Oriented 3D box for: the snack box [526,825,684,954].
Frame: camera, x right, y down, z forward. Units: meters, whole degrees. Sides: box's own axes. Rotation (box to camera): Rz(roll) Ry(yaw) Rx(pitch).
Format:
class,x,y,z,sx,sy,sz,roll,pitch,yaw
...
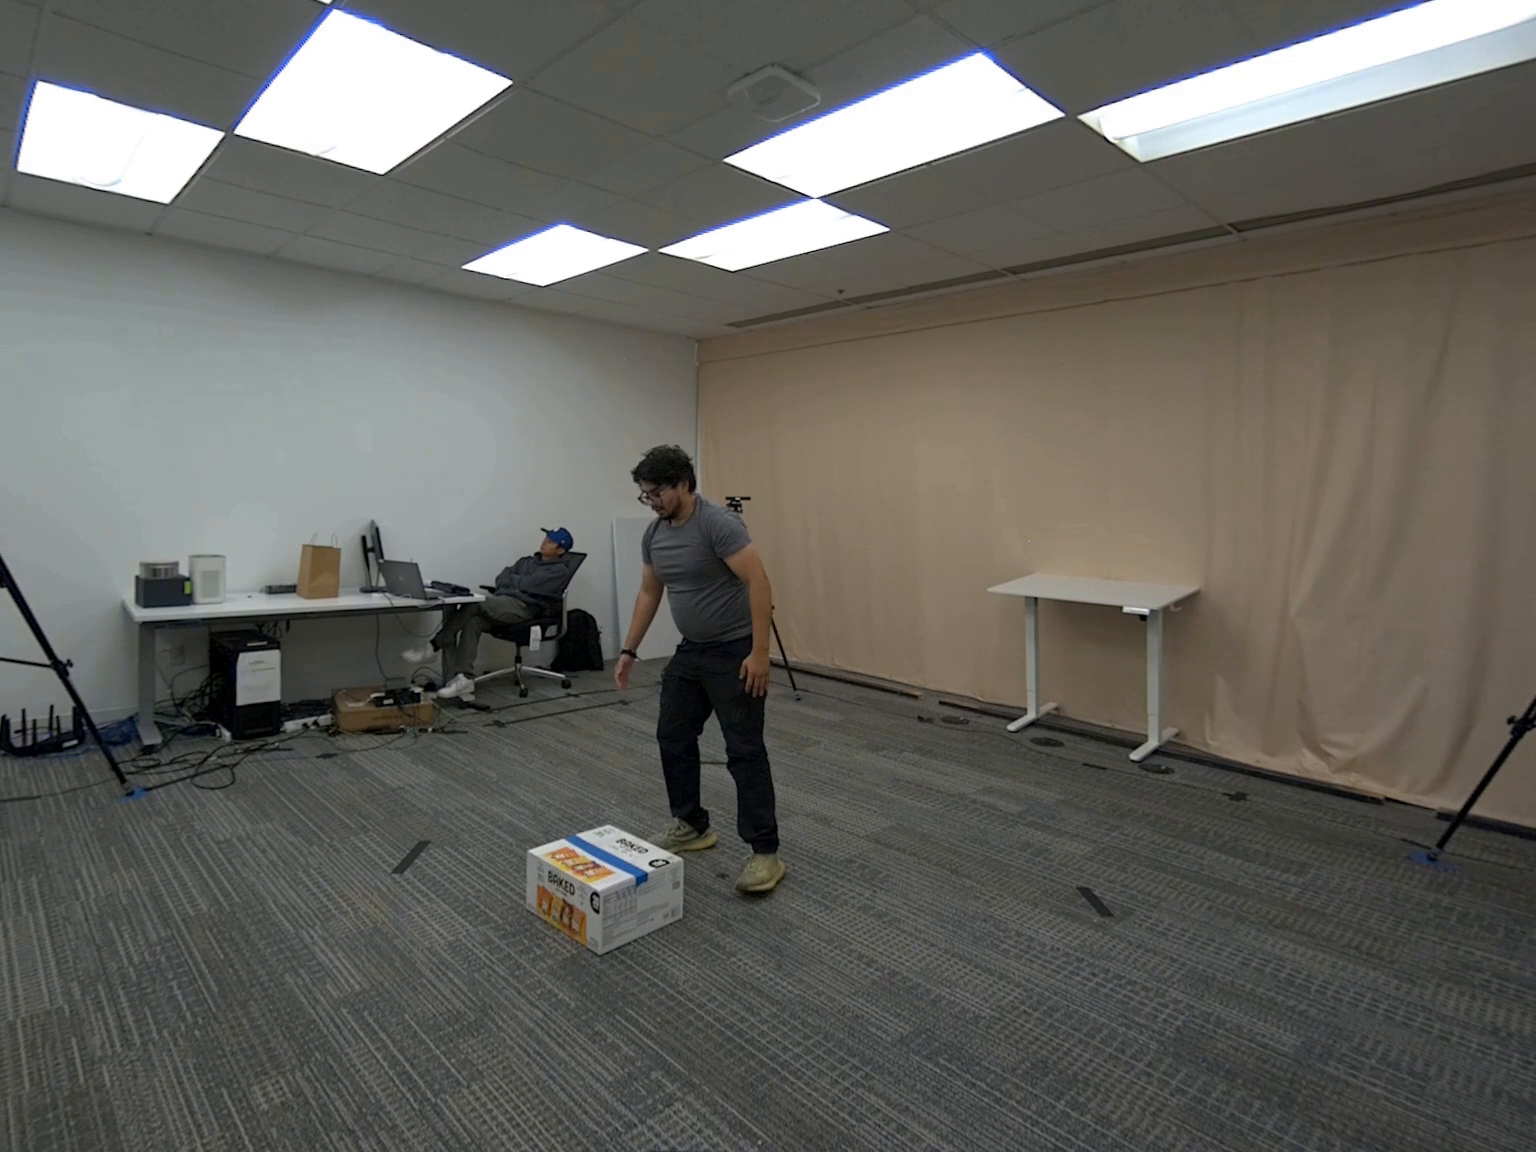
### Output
class,x,y,z,sx,sy,sz,roll,pitch,yaw
snack box,-0.550,1.028,2.785,0.415,0.205,0.333,6,7,43
